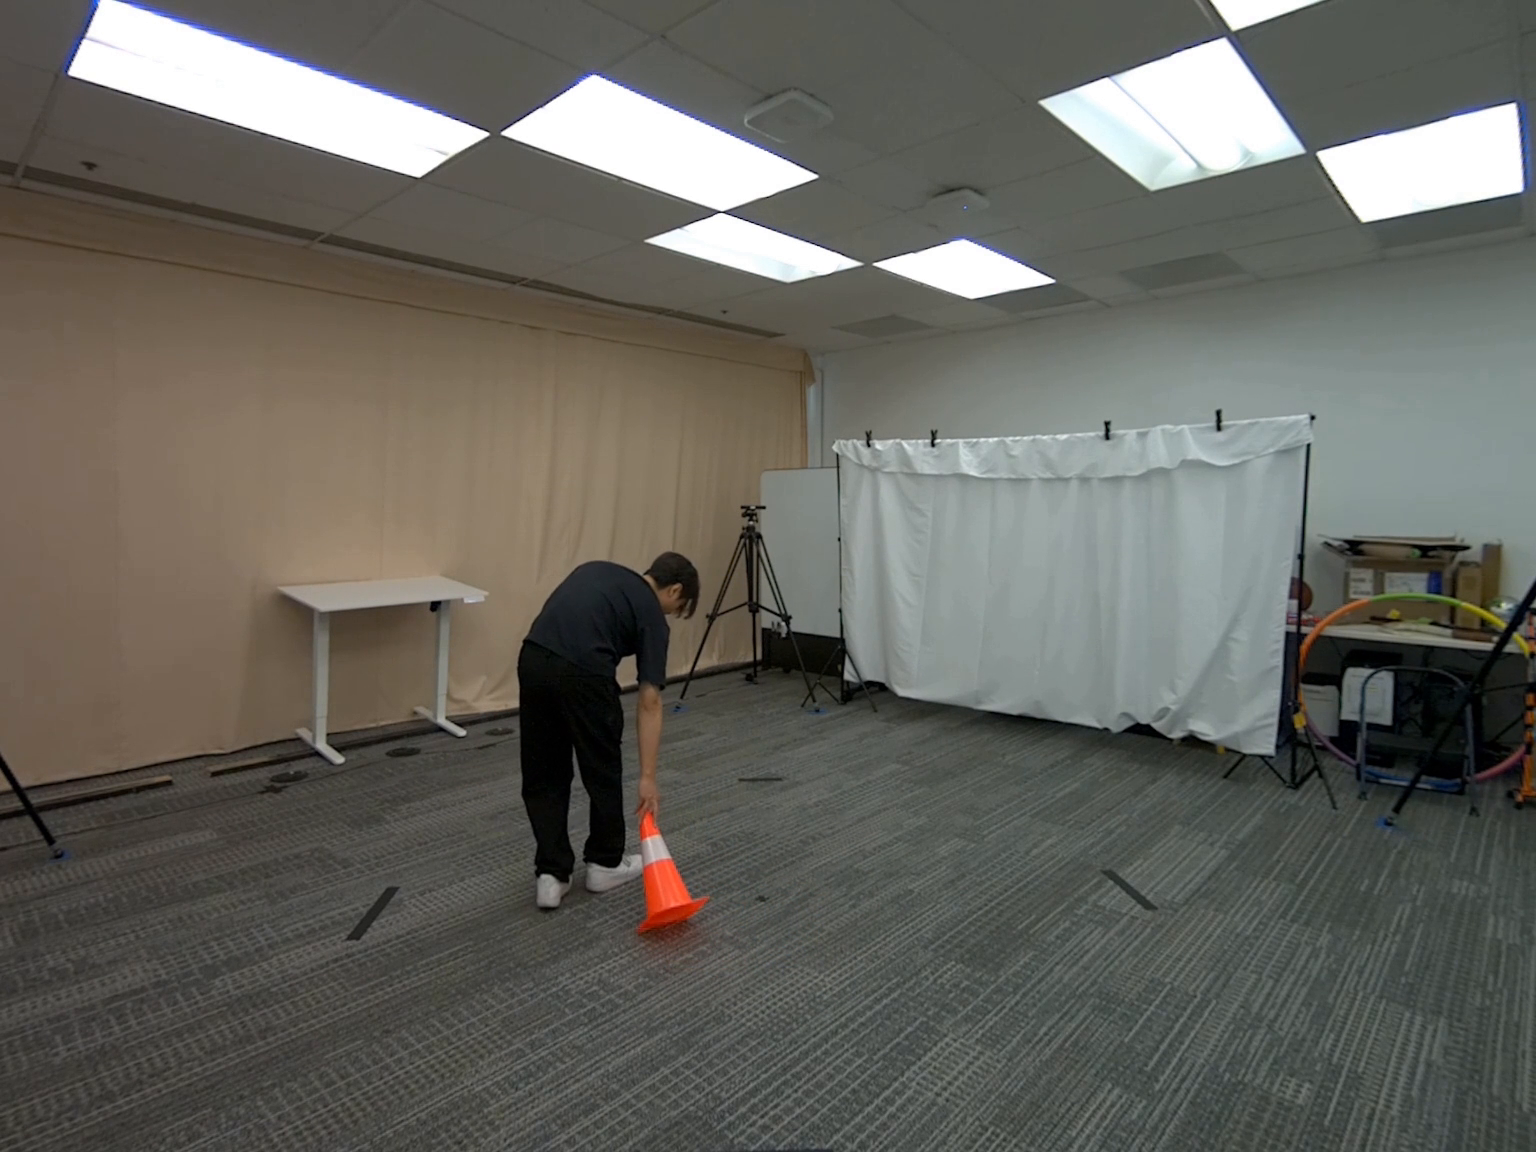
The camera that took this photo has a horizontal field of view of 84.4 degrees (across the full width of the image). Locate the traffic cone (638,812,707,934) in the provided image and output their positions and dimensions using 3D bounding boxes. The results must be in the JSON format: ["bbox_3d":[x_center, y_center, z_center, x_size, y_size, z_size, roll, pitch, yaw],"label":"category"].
[{"bbox_3d":[-0.373,0.953,2.830,0.198,0.394,0.205,-1,-38,-31],"label":"traffic cone"}]
